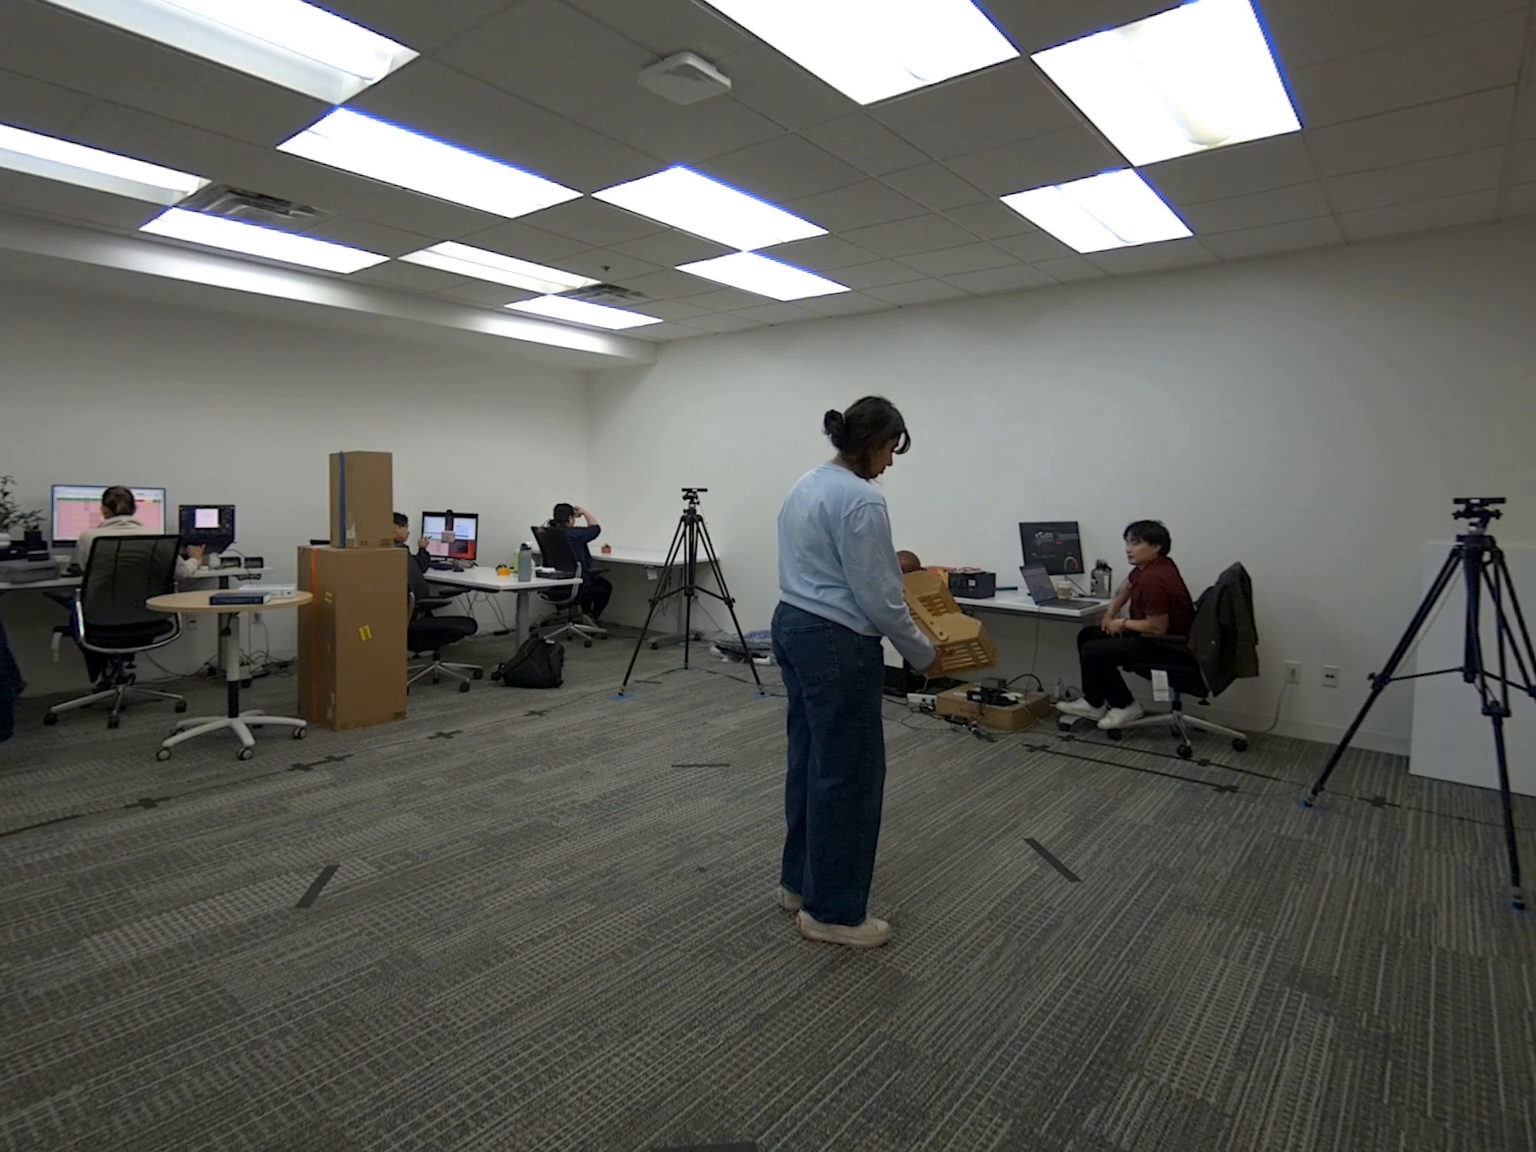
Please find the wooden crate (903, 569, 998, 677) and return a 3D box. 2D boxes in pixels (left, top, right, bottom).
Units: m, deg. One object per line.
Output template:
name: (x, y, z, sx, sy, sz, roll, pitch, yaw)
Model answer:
wooden crate: (0.557, 0.154, 2.811, 0.306, 0.281, 0.311, -16, -30, 19)
